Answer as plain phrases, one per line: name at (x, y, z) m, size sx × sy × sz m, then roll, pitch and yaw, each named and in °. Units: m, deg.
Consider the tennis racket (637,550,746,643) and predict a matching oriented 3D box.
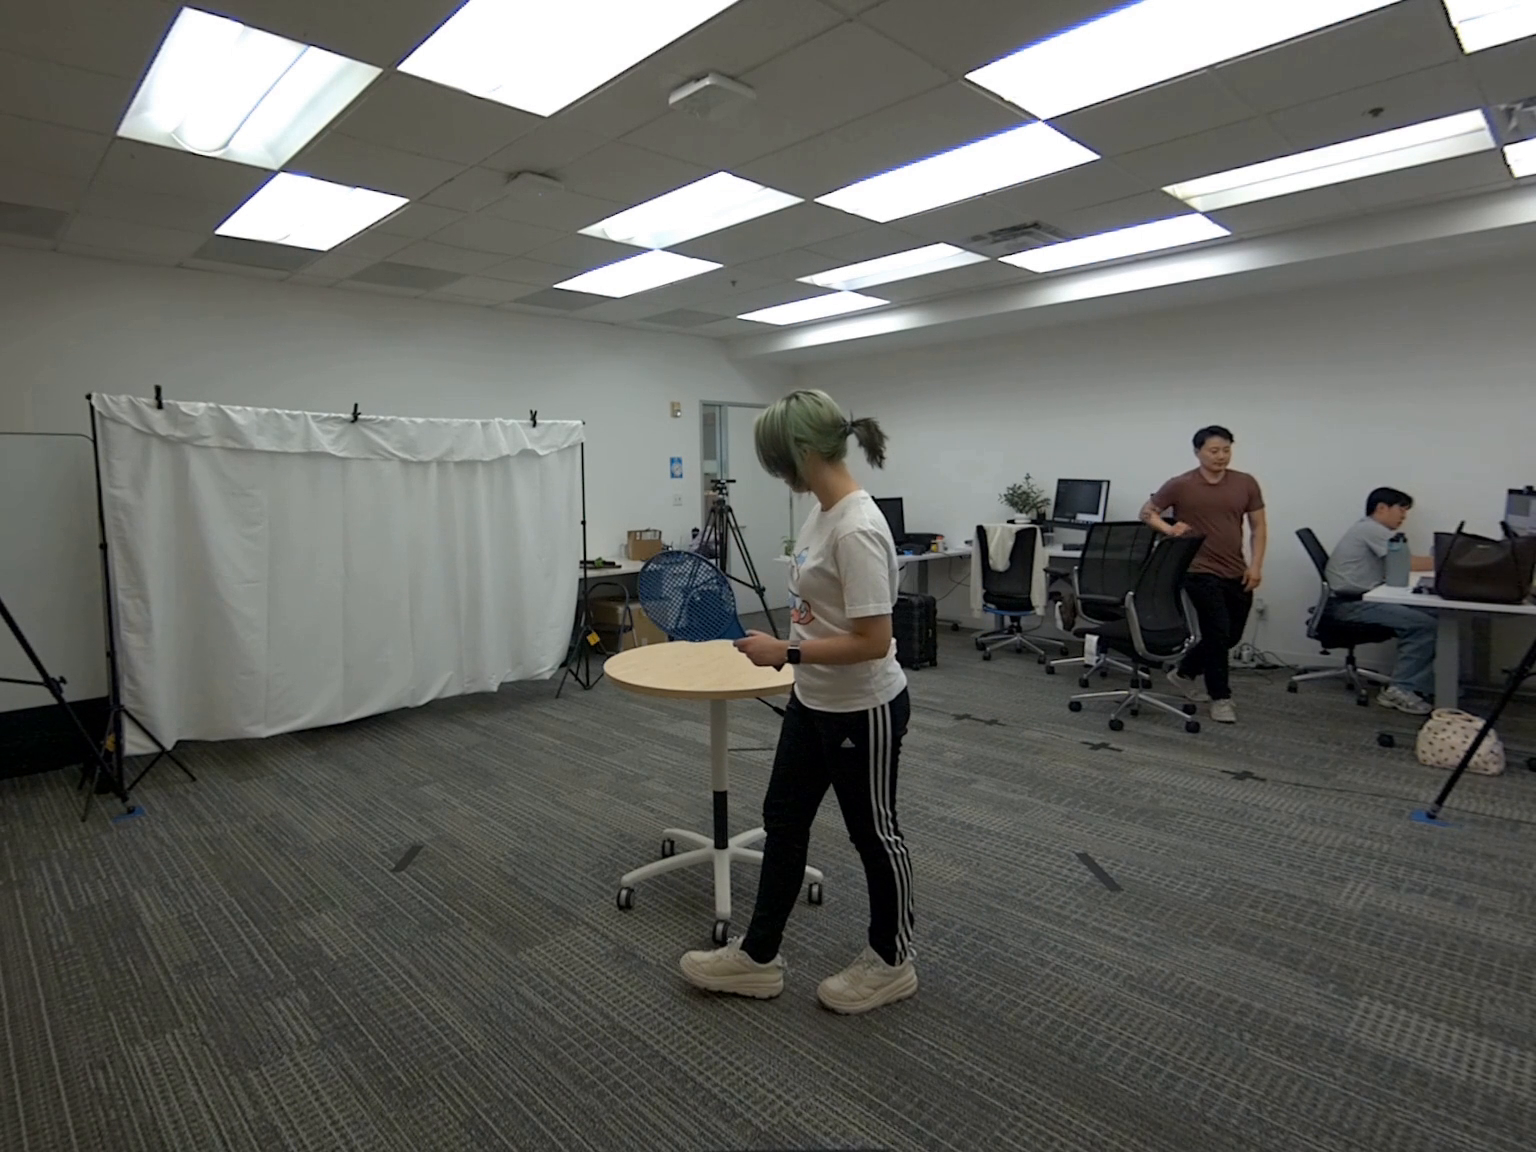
tennis racket at (-0.135, 0.094, 2.141) m, size 0.439 × 0.213 × 0.031 m, roll 31°, pitch 9°, yaw 11°
